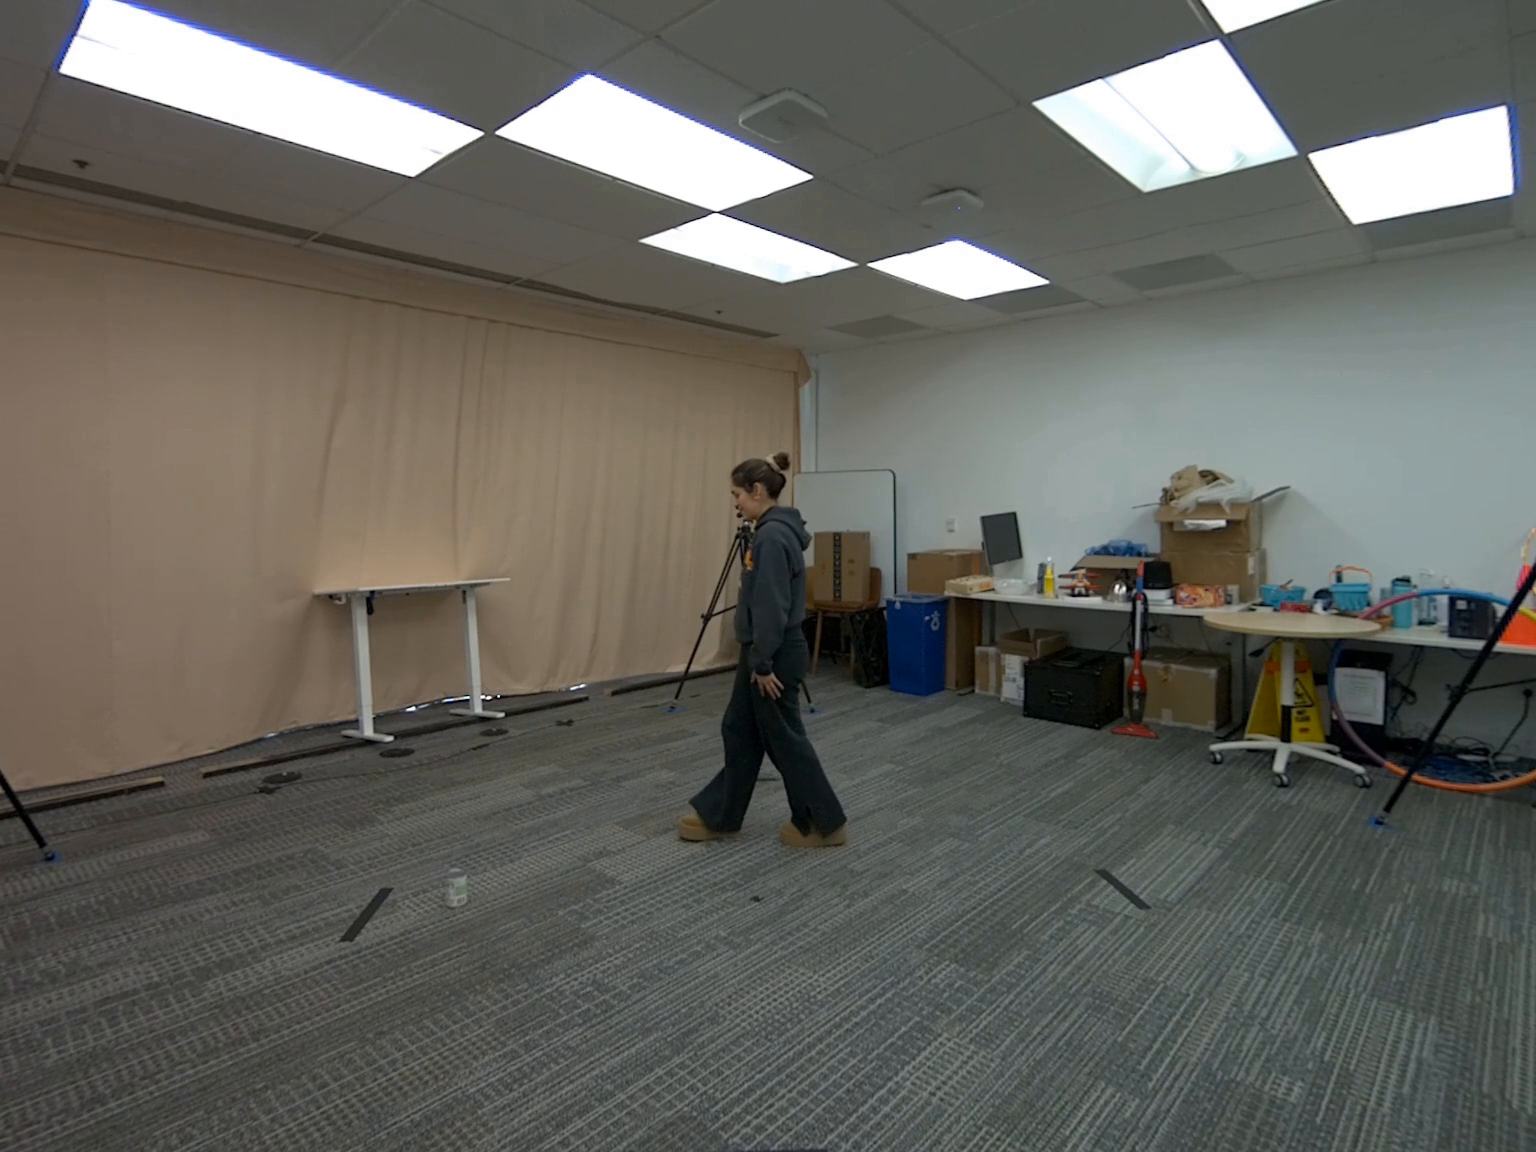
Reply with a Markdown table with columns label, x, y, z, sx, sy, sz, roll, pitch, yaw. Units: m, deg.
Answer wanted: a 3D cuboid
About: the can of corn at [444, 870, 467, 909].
| label | x | y | z | sx | sy | sz | roll | pitch | yaw |
| --- | --- | --- | --- | --- | --- | --- | --- | --- | --- |
| can of corn | -1.083 | 1.116 | 2.966 | 0.074 | 0.111 | 0.074 | 0 | 4 | -2 |
